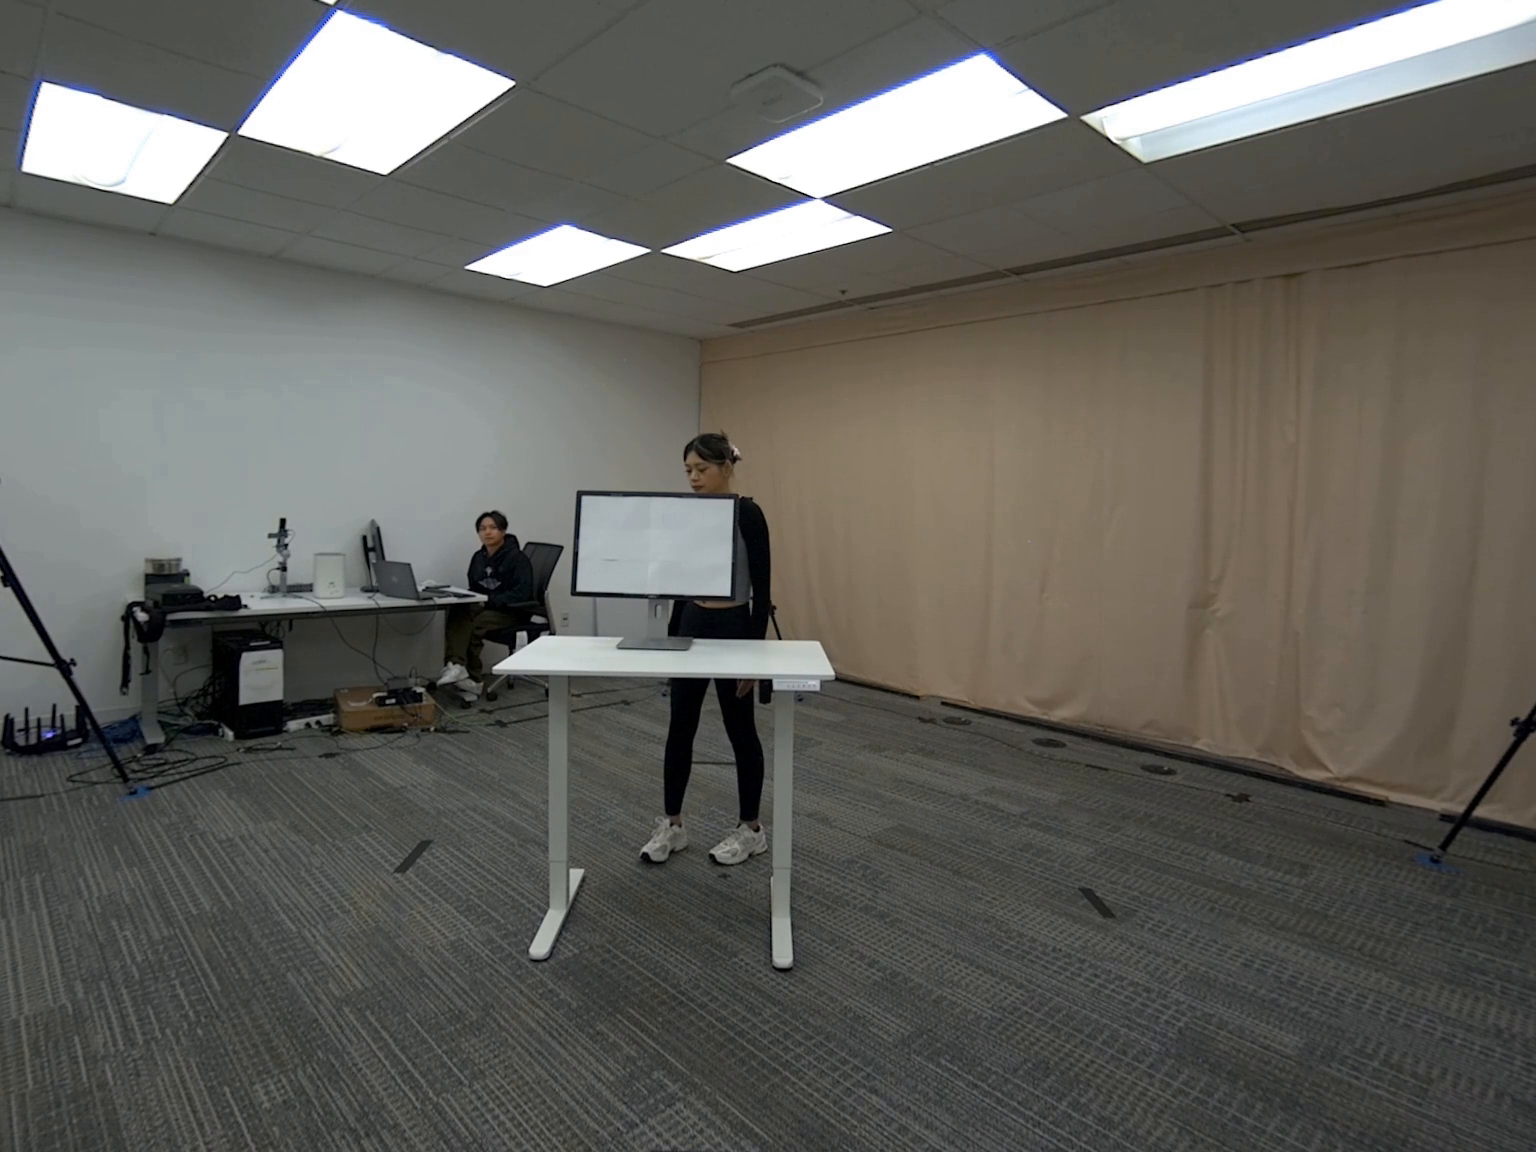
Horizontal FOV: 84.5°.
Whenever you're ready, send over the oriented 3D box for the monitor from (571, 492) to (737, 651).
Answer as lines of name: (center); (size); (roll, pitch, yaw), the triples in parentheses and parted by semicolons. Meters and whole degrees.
monitor: (-0.383, -0.018, 2.887); (0.540, 0.521, 0.187); (1, 5, 2)
